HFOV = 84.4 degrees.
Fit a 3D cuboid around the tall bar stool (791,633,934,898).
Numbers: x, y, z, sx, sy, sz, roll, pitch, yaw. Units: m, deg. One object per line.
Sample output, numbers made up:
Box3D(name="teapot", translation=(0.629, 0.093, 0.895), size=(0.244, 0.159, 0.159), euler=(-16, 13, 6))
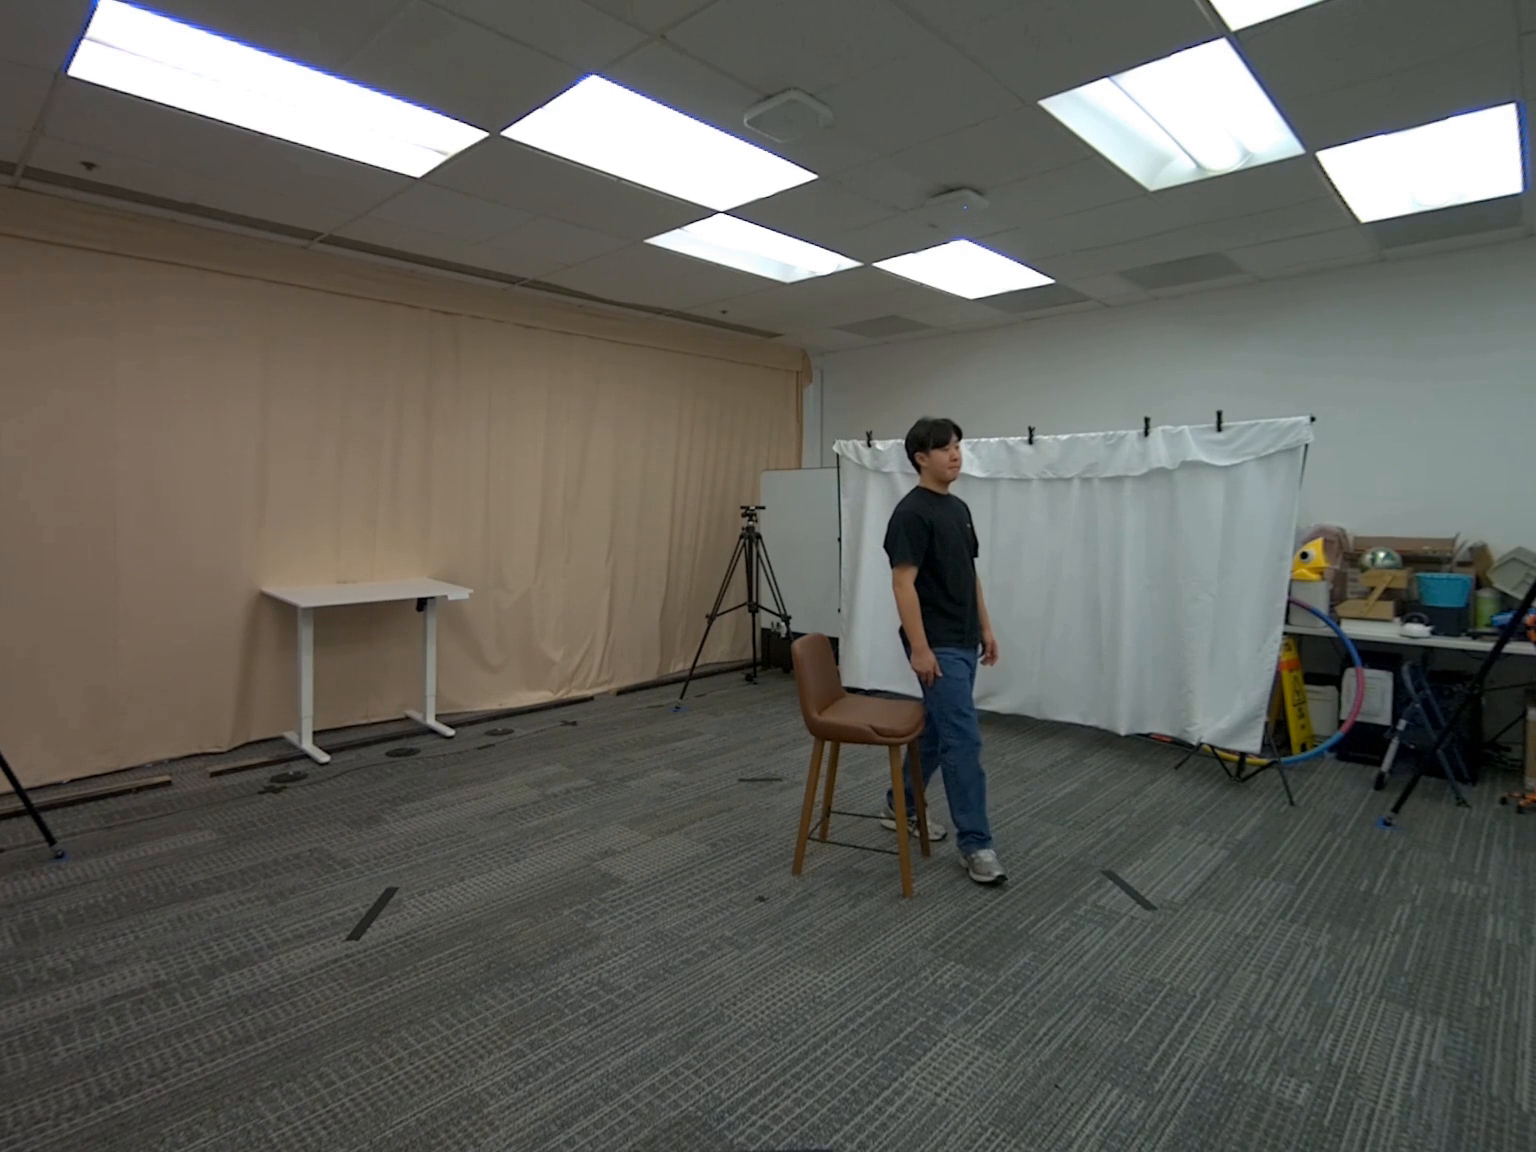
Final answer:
Box3D(name="tall bar stool", translation=(0.364, 0.685, 3.232), size=(0.479, 0.888, 0.446), euler=(-1, 2, 24))
